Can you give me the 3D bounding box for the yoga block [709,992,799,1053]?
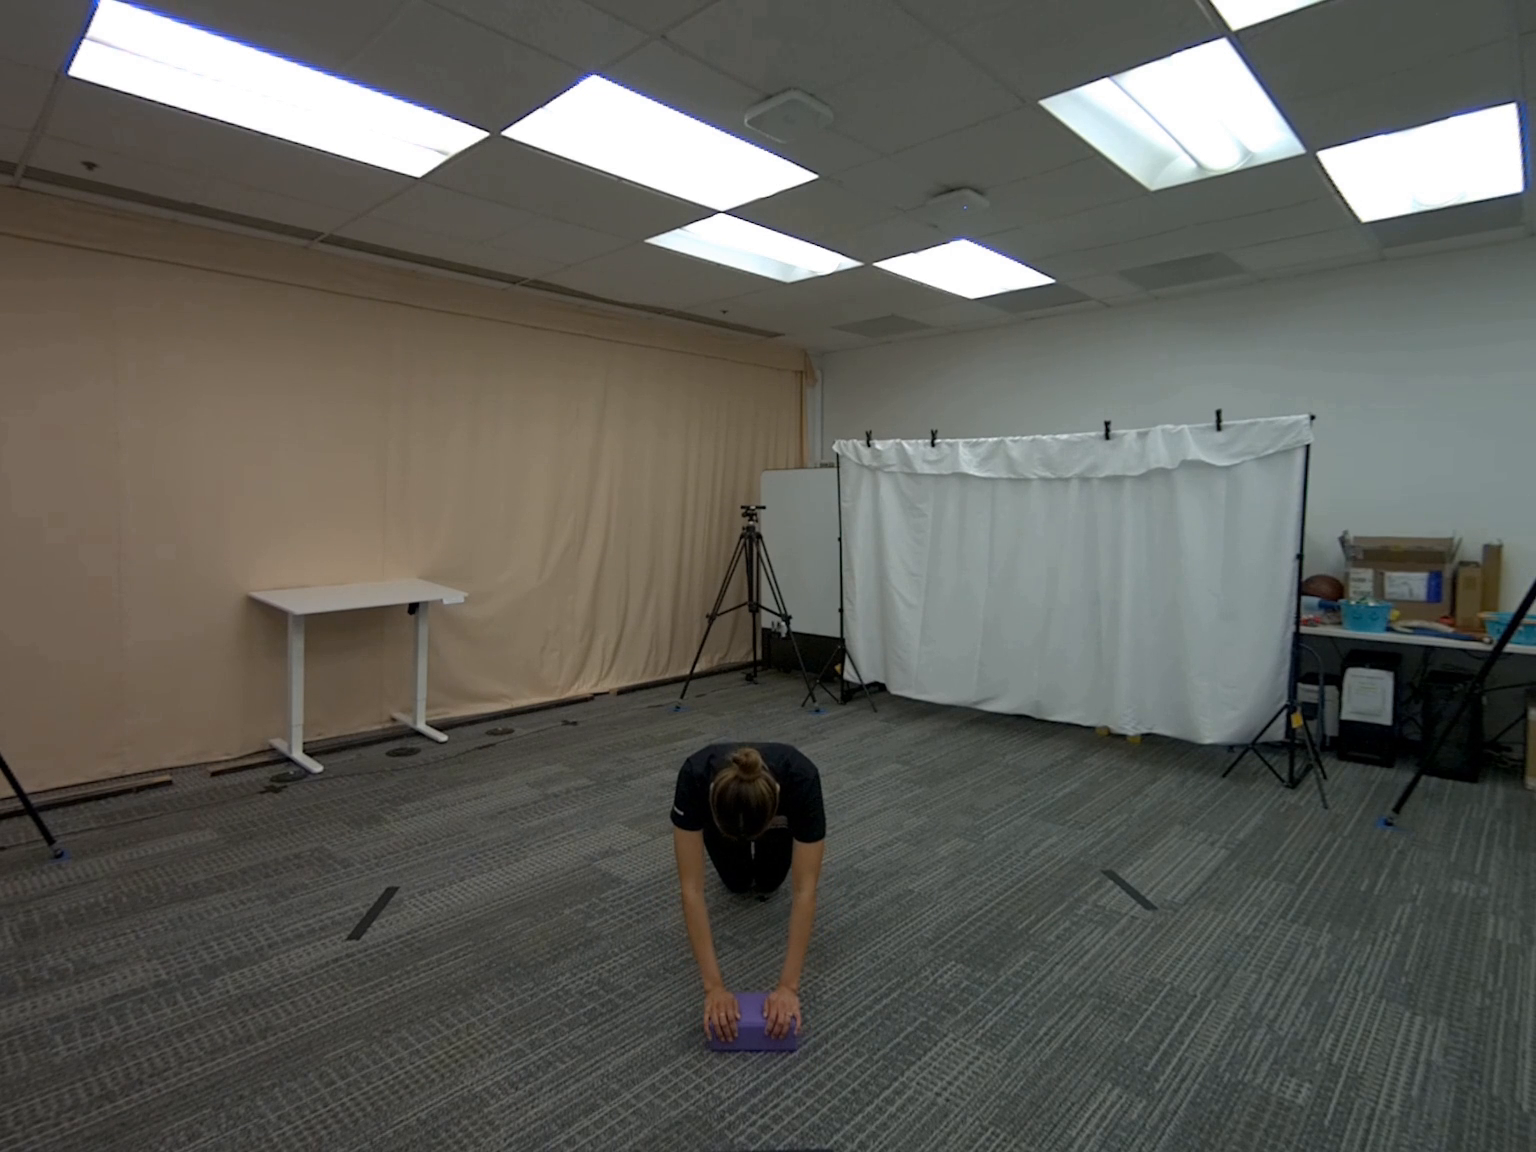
[{"bbox_3d":[-0.044,1.162,2.219,0.229,0.076,0.149,0,7,0],"label":"yoga block"}]
